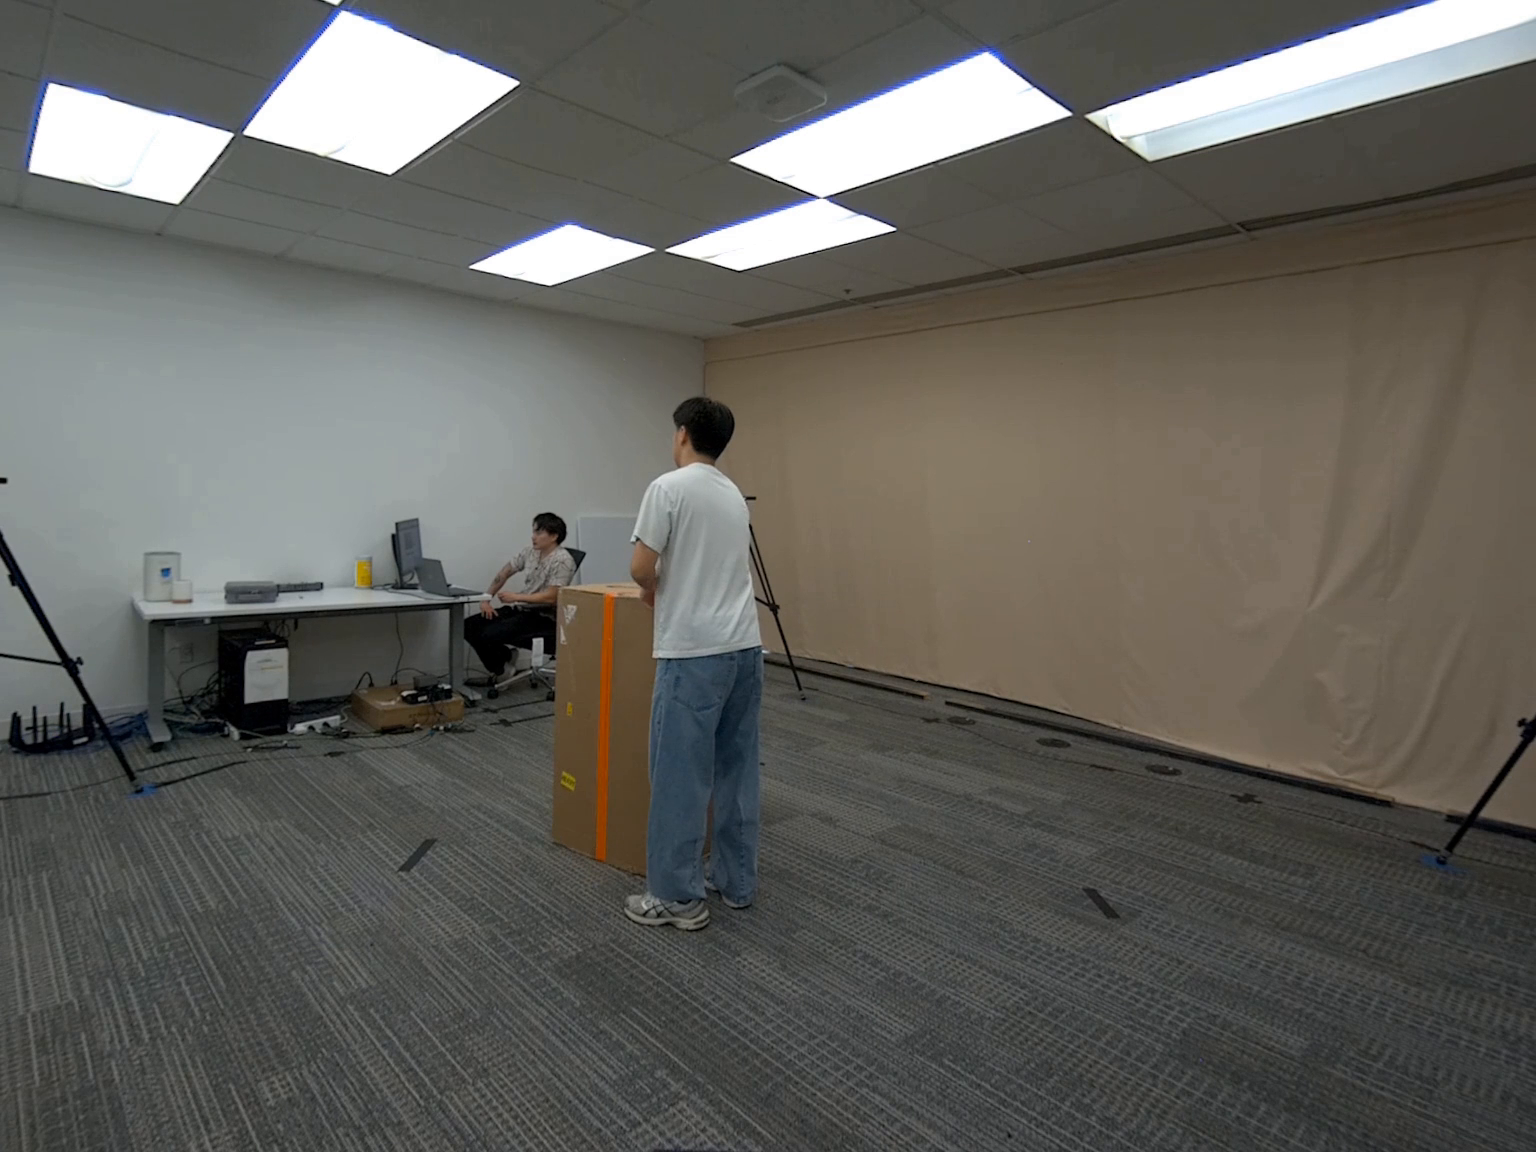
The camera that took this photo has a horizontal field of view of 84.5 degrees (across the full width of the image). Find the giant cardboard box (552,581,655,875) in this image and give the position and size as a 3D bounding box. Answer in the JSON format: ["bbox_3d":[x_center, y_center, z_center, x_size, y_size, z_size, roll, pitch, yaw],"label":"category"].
[{"bbox_3d":[-0.508,0.566,3.347,0.591,1.024,0.417,4,4,35],"label":"giant cardboard box"}]
